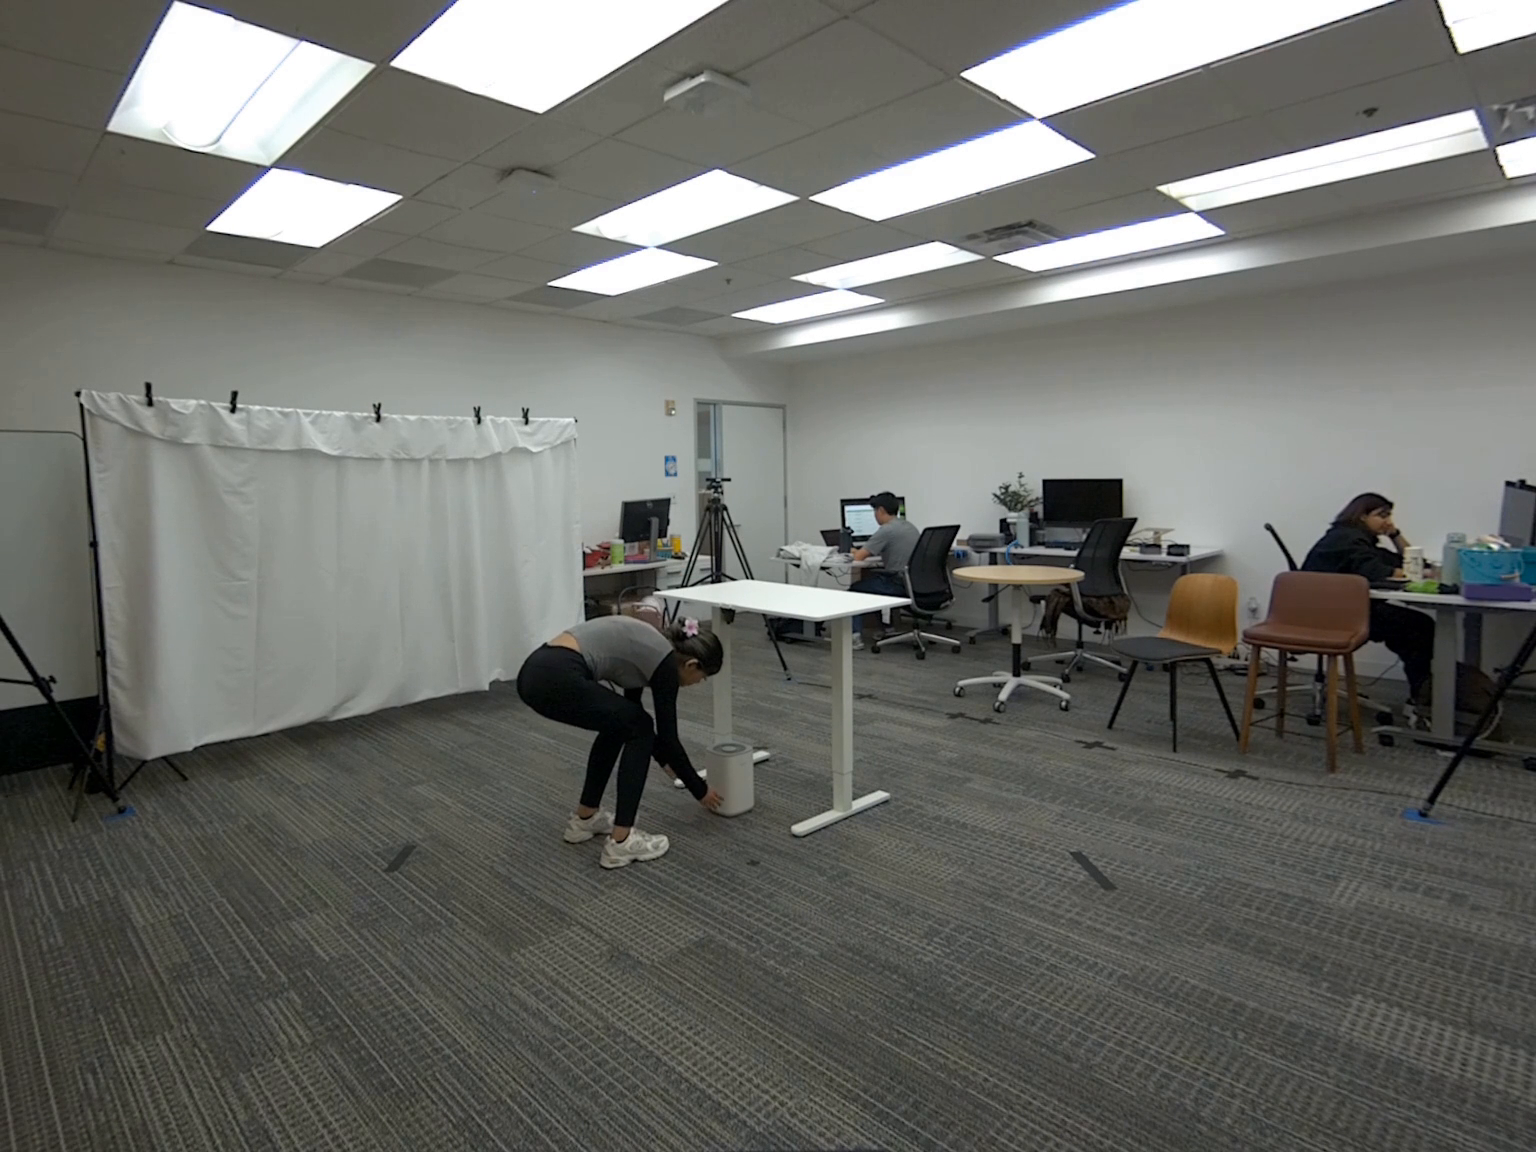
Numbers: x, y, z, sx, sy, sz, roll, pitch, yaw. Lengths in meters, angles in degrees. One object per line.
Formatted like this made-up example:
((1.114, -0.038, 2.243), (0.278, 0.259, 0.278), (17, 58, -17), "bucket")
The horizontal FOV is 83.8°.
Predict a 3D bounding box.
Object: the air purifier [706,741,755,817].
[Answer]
((-0.161, 0.856, 3.604), (0.177, 0.265, 0.166), (3, 5, 44), "air purifier")
